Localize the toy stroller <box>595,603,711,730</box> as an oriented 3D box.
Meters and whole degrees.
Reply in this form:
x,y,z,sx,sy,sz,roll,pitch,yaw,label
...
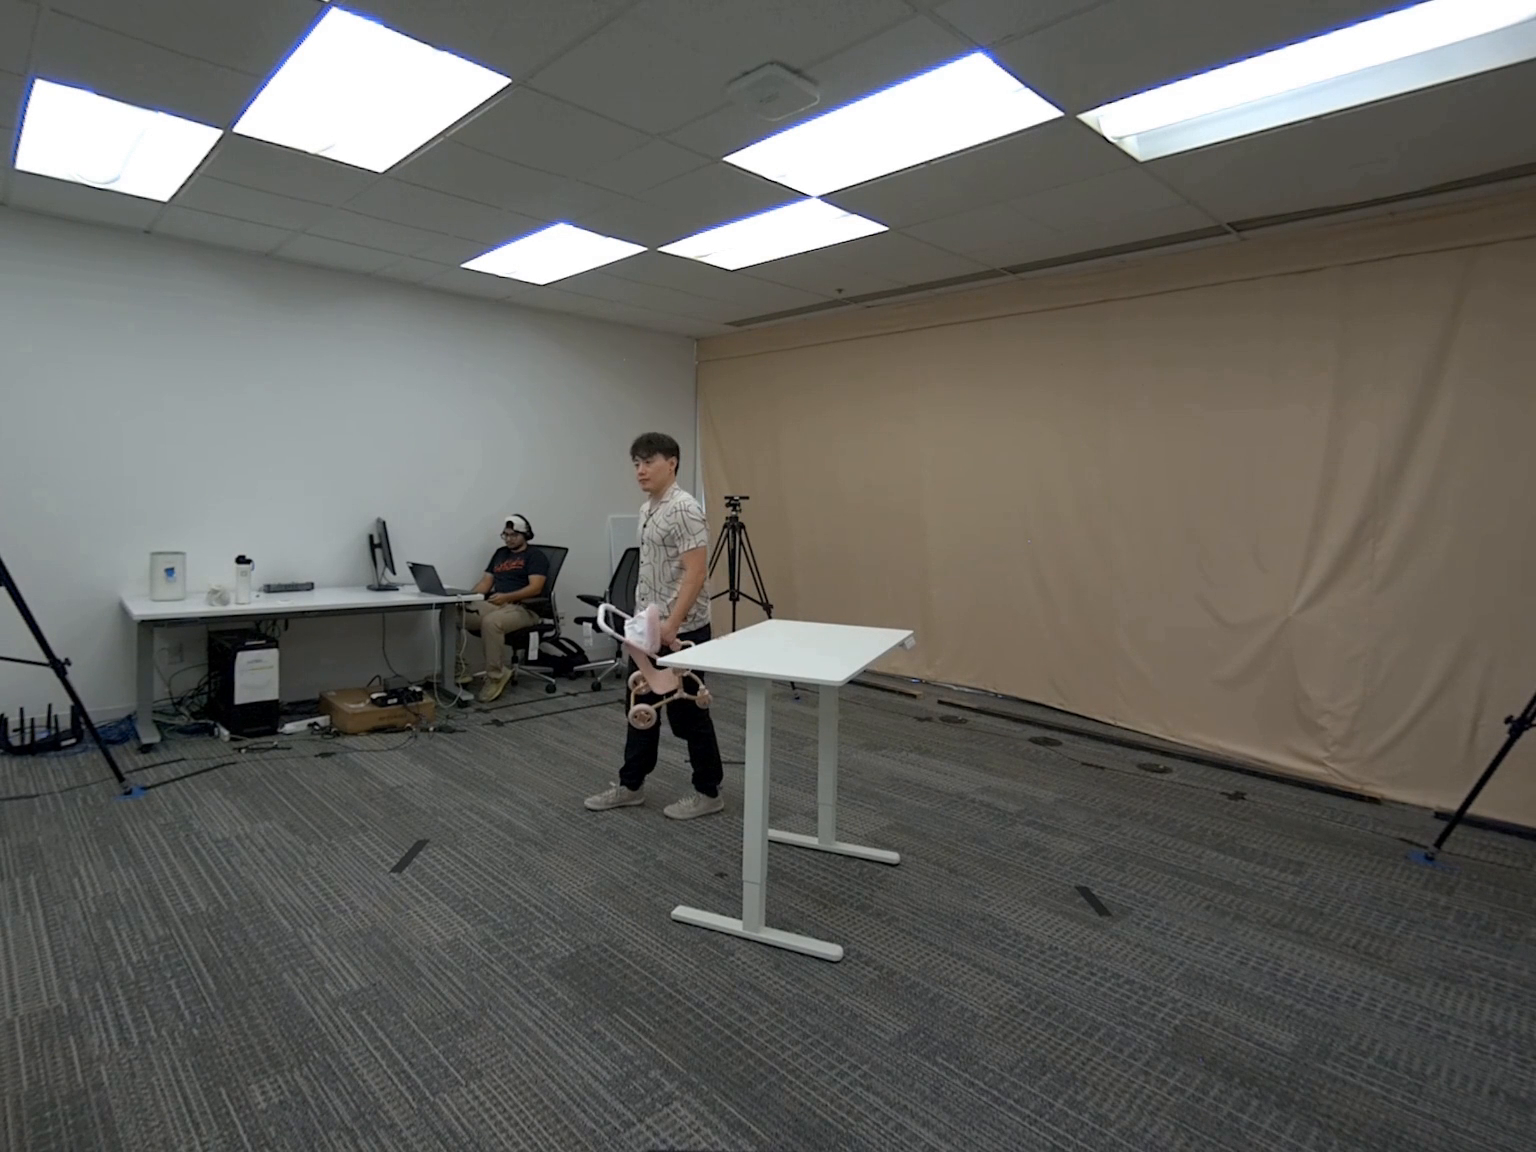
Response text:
x,y,z,sx,sy,sz,roll,pitch,yaw,label
-0.445,0.333,3.312,0.342,0.524,0.286,-13,24,3,toy stroller
